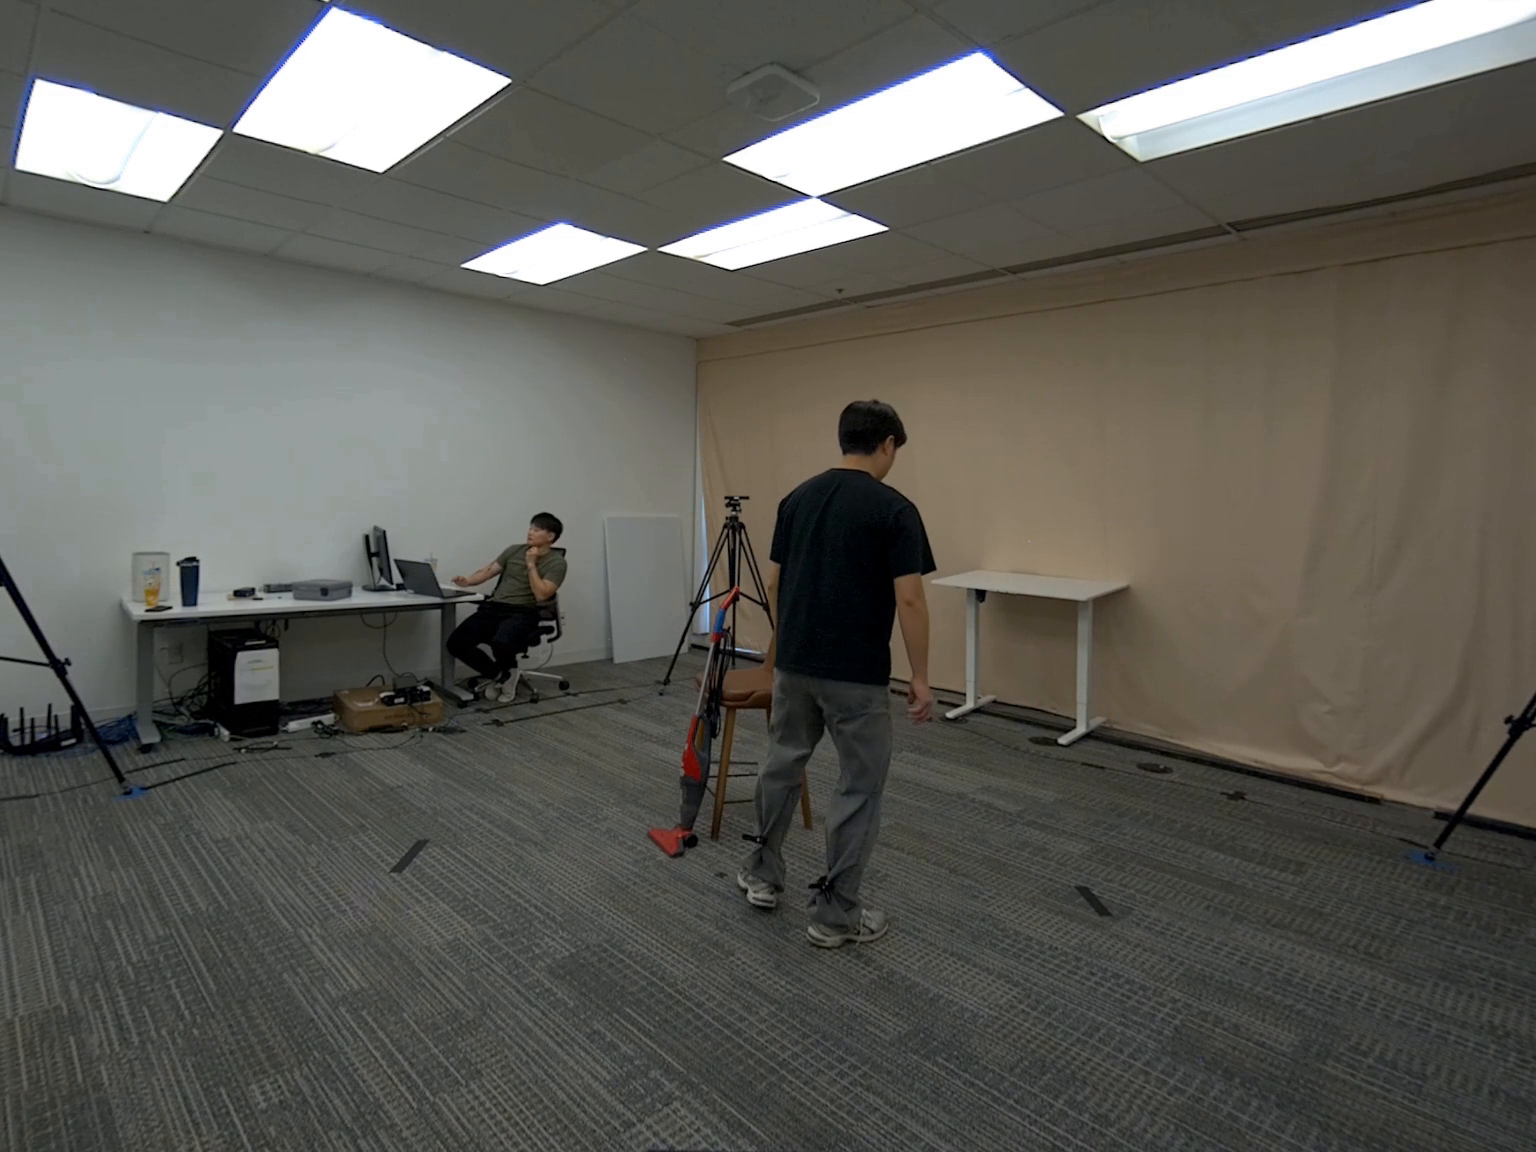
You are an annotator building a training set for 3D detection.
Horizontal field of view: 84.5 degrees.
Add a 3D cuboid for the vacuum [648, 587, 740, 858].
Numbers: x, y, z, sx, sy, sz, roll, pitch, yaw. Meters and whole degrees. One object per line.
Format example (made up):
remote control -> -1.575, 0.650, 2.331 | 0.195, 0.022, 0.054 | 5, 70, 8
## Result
vacuum -> -0.254, 0.563, 3.418 | 0.140, 1.052, 0.258 | 16, -6, -35
